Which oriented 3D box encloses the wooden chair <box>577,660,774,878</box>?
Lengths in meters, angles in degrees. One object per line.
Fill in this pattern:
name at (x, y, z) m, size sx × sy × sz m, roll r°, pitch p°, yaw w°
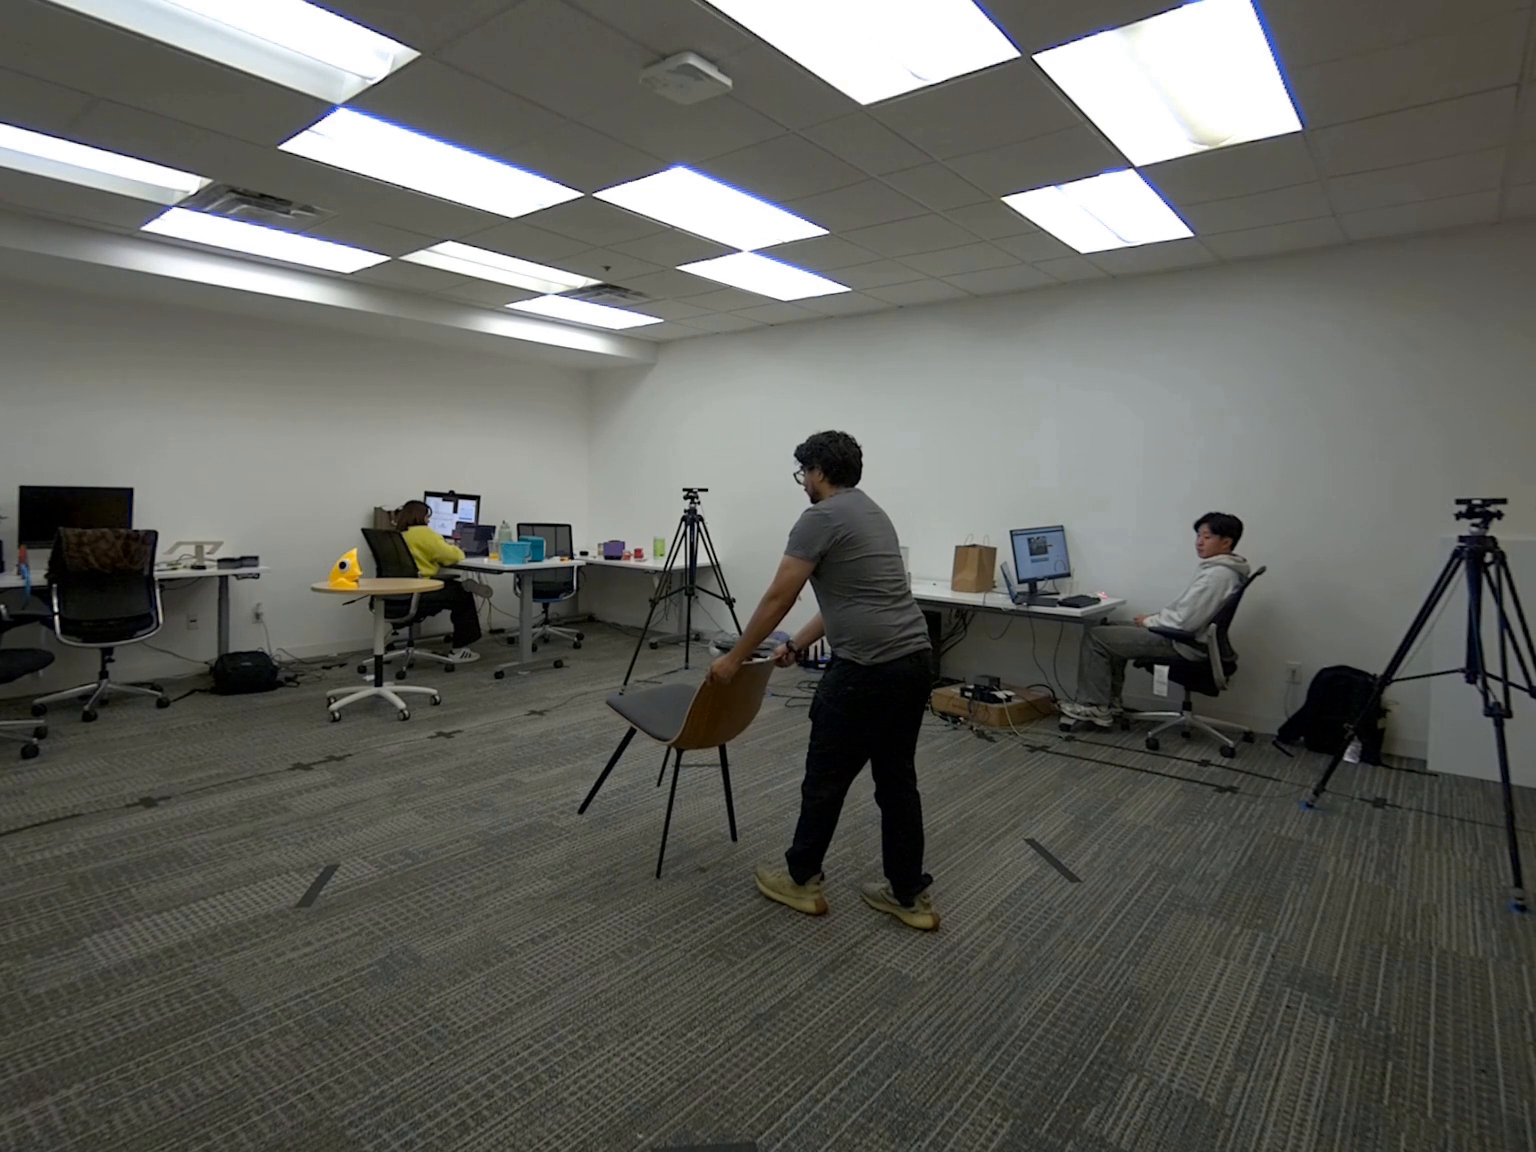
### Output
wooden chair at (-0.344, 0.579, 3.234) m, size 0.544 × 0.869 × 0.464 m, roll 29°, pitch 20°, yaw 34°
